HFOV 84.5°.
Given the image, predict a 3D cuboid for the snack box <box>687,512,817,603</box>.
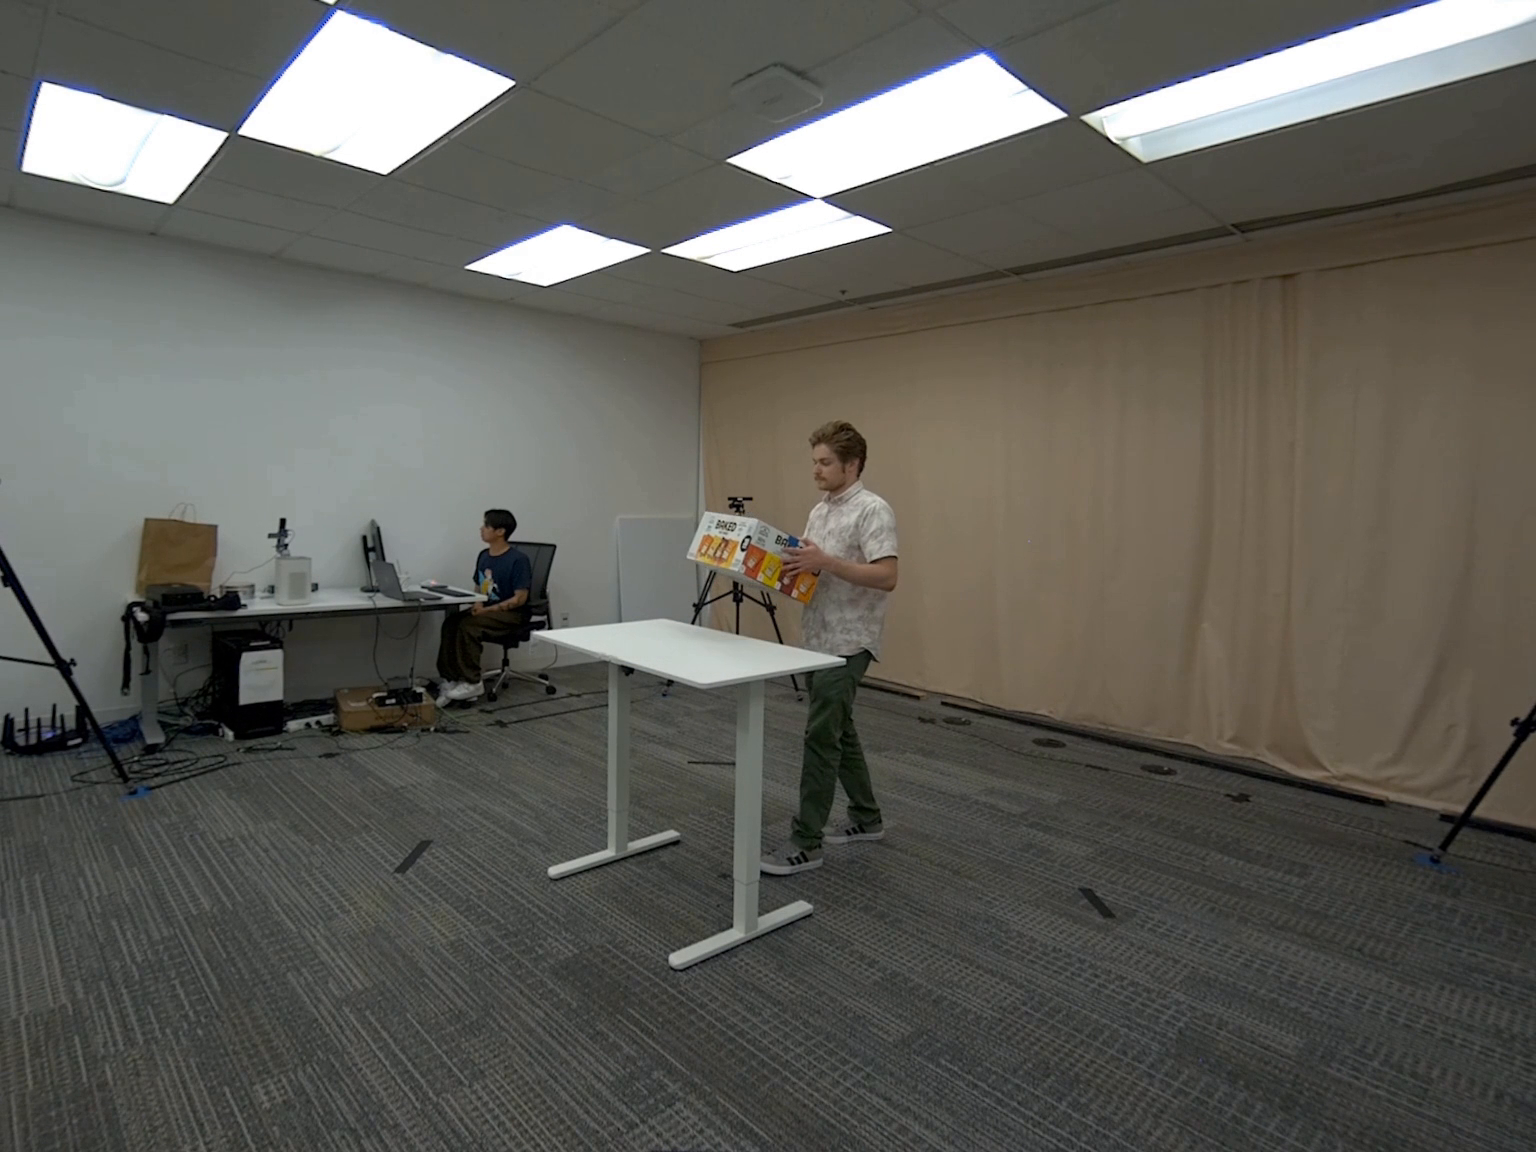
[{"bbox_3d":[-0.055,-0.072,3.236,0.331,0.206,0.415,25,-6,-32],"label":"snack box"}]
